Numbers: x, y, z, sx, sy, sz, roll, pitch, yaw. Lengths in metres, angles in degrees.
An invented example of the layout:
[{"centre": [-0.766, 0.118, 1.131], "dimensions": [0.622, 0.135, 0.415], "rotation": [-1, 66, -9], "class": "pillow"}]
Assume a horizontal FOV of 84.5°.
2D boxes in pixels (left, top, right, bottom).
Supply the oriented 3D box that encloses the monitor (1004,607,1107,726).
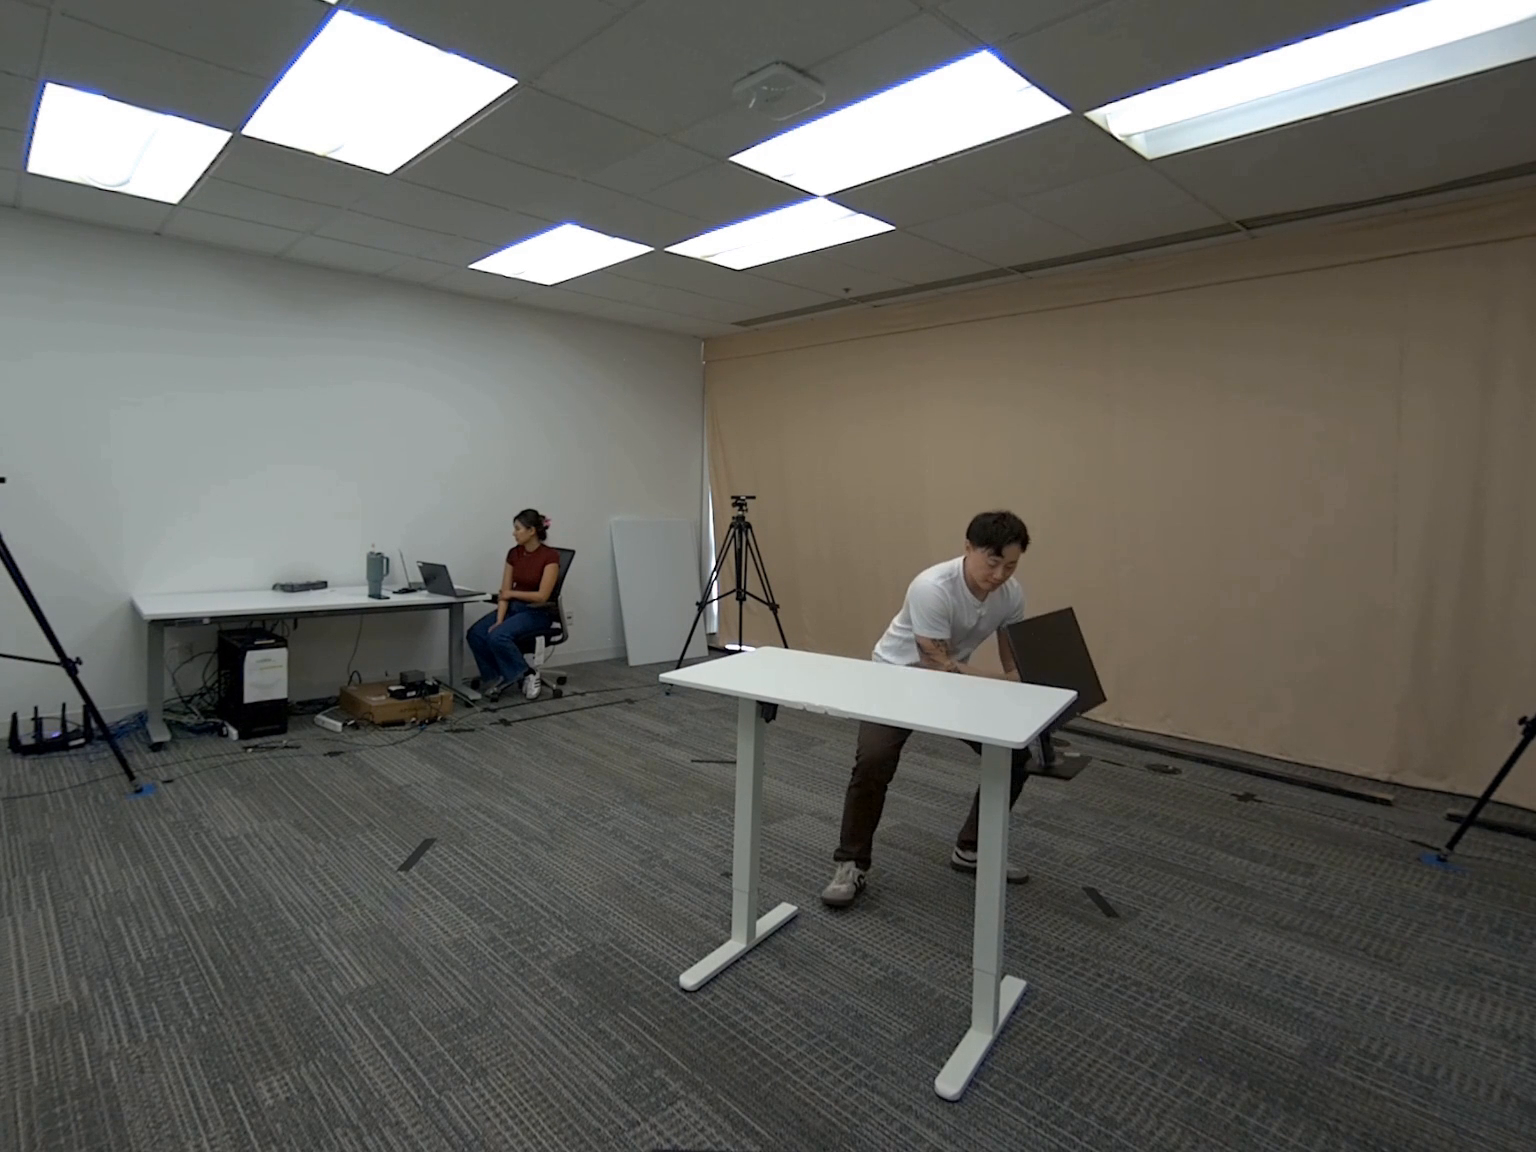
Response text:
[{"centre": [0.943, 0.394, 2.859], "dimensions": [0.191, 0.523, 0.528], "rotation": [-6, 0, 41], "class": "monitor"}]
